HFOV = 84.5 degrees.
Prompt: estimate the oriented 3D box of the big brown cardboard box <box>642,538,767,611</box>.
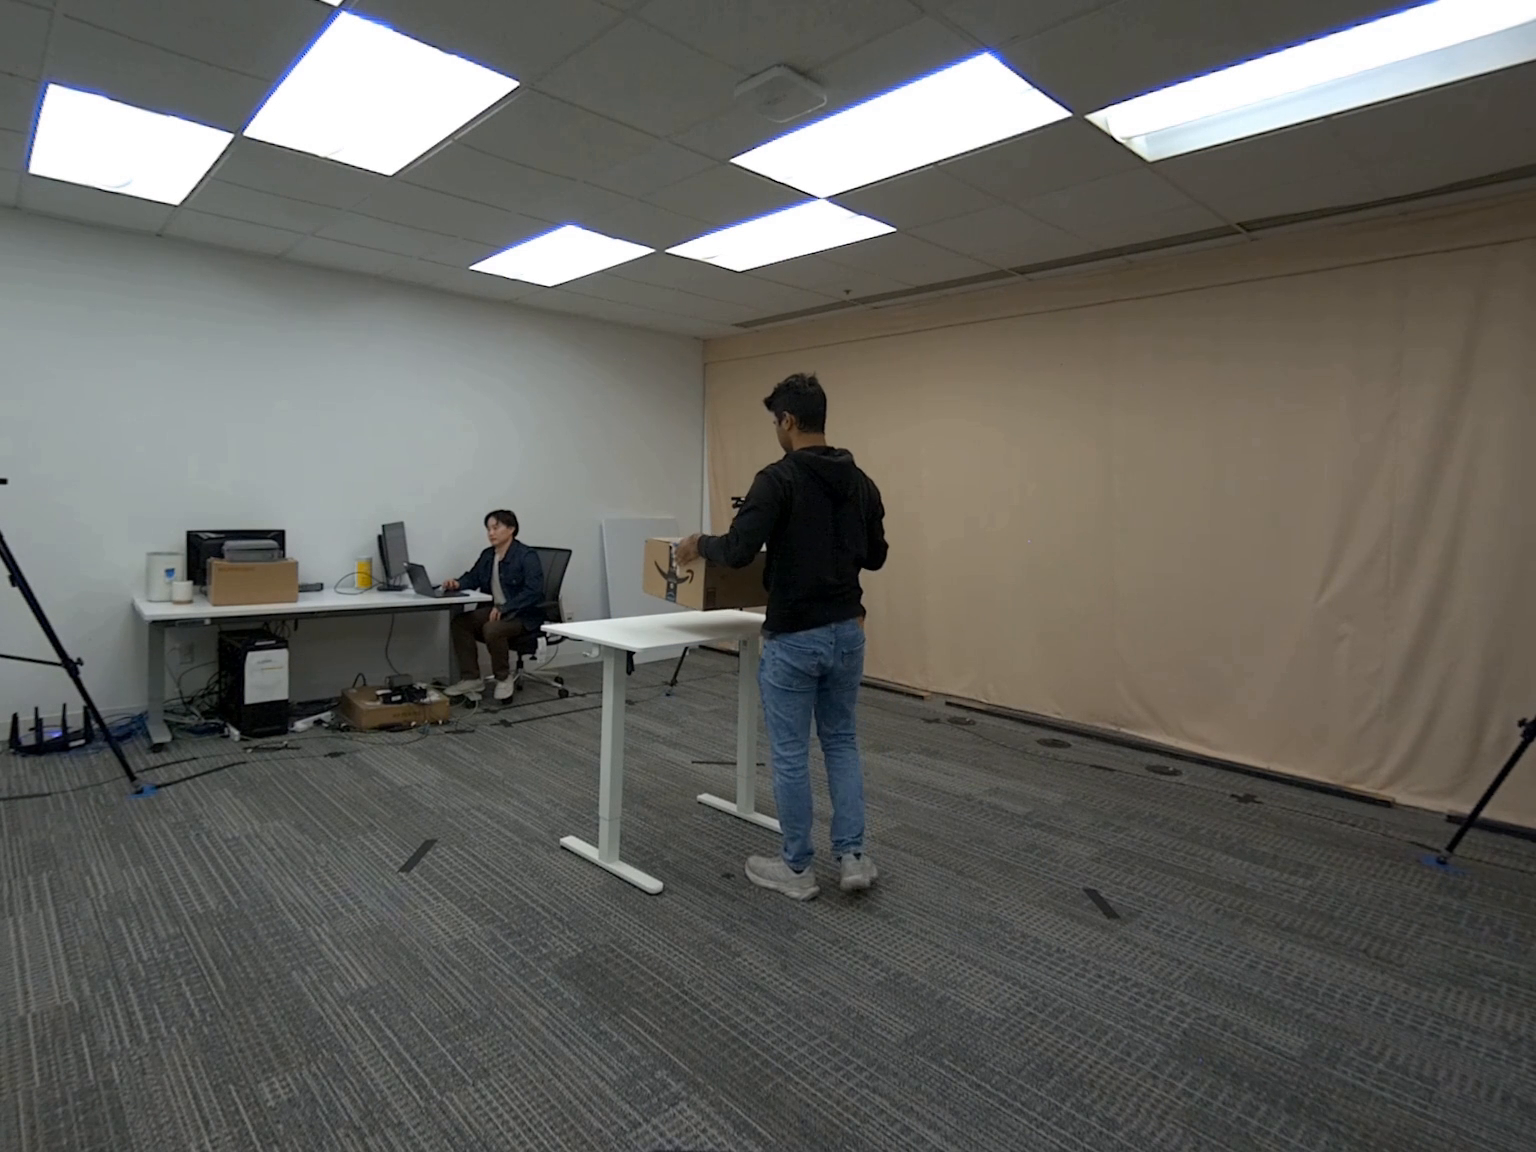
[{"bbox_3d":[-0.132,-0.020,3.299,0.576,0.232,0.429,-4,11,-39],"label":"big brown cardboard box"}]
